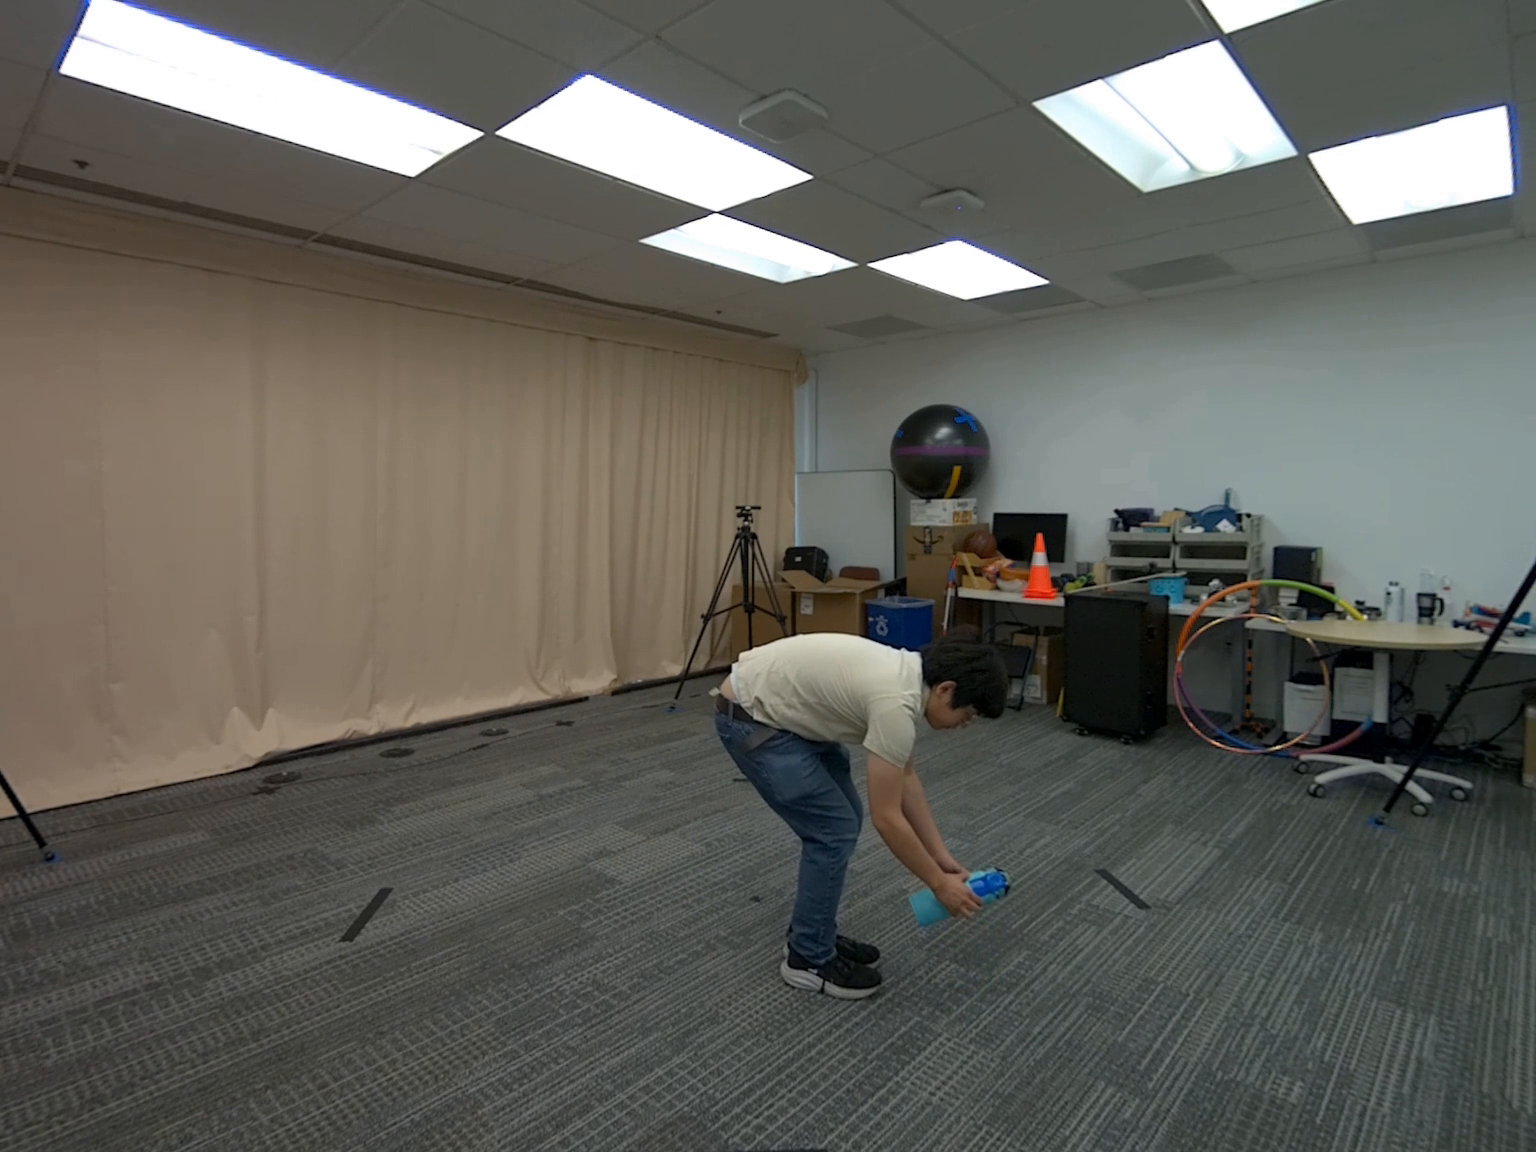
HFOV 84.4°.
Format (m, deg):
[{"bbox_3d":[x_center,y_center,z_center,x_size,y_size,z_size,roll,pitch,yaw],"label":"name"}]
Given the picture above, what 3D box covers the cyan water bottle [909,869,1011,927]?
[{"bbox_3d":[0.550,0.902,2.363,0.285,0.092,0.092,-21,1,8],"label":"cyan water bottle"}]
